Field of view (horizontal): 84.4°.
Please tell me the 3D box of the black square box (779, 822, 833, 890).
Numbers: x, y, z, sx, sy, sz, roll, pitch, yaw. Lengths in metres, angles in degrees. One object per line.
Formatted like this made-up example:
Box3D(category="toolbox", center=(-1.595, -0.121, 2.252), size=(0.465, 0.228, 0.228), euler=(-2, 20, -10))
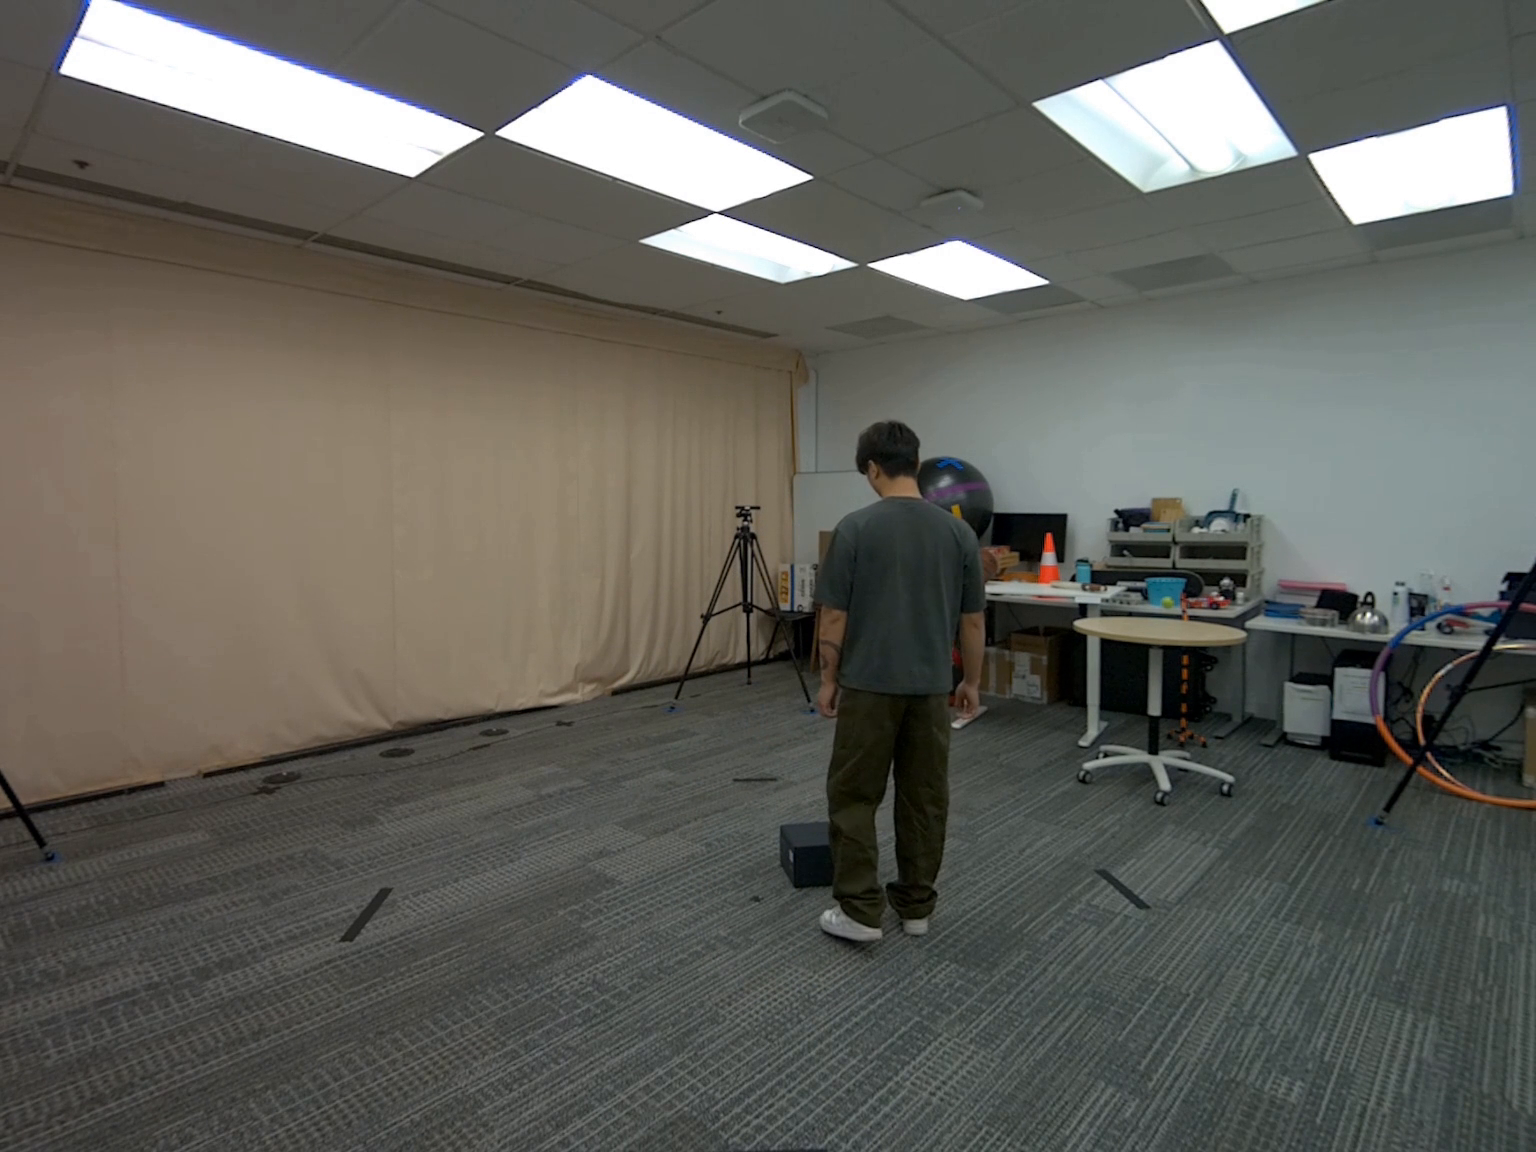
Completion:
Box3D(category="black square box", center=(0.184, 1.039, 3.177), size=(0.225, 0.155, 0.220), euler=(-2, 4, -13))
